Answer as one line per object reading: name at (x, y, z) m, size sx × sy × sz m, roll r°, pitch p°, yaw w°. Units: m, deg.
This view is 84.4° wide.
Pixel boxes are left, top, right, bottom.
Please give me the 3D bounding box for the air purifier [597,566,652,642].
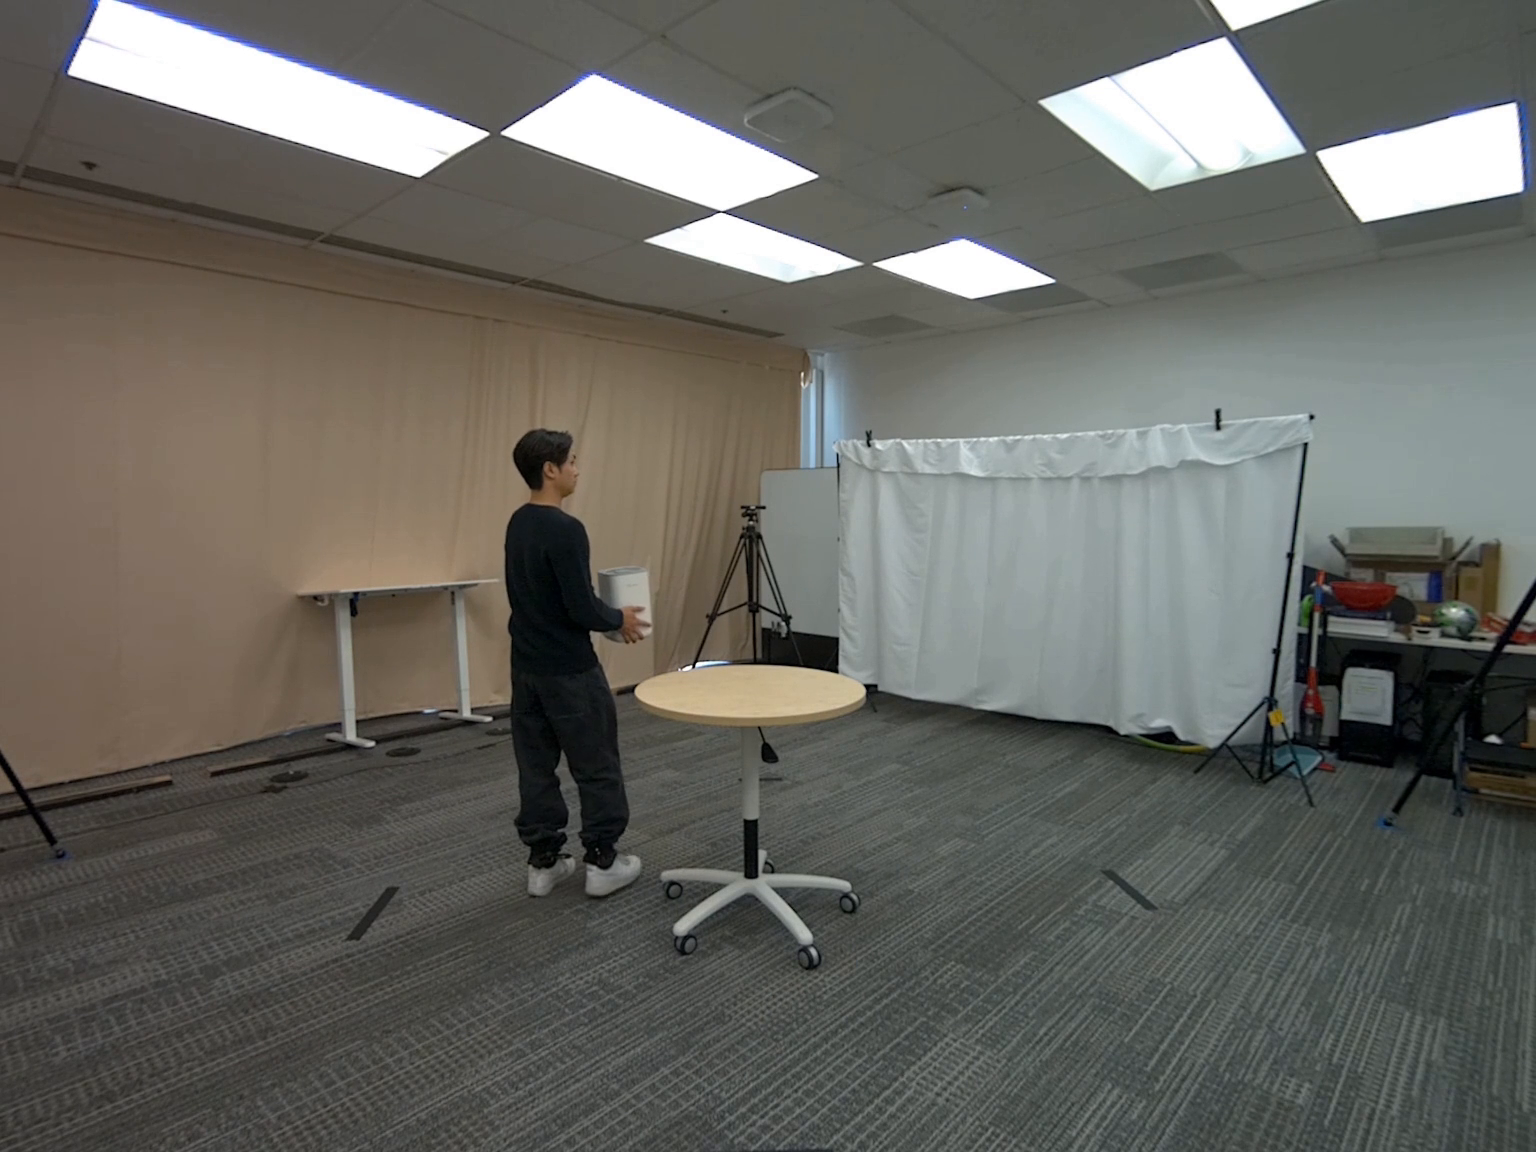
air purifier at (-0.556, 0.108, 3.219) m, size 0.166 × 0.264 × 0.177 m, roll -8°, pitch 10°, yaw -34°
